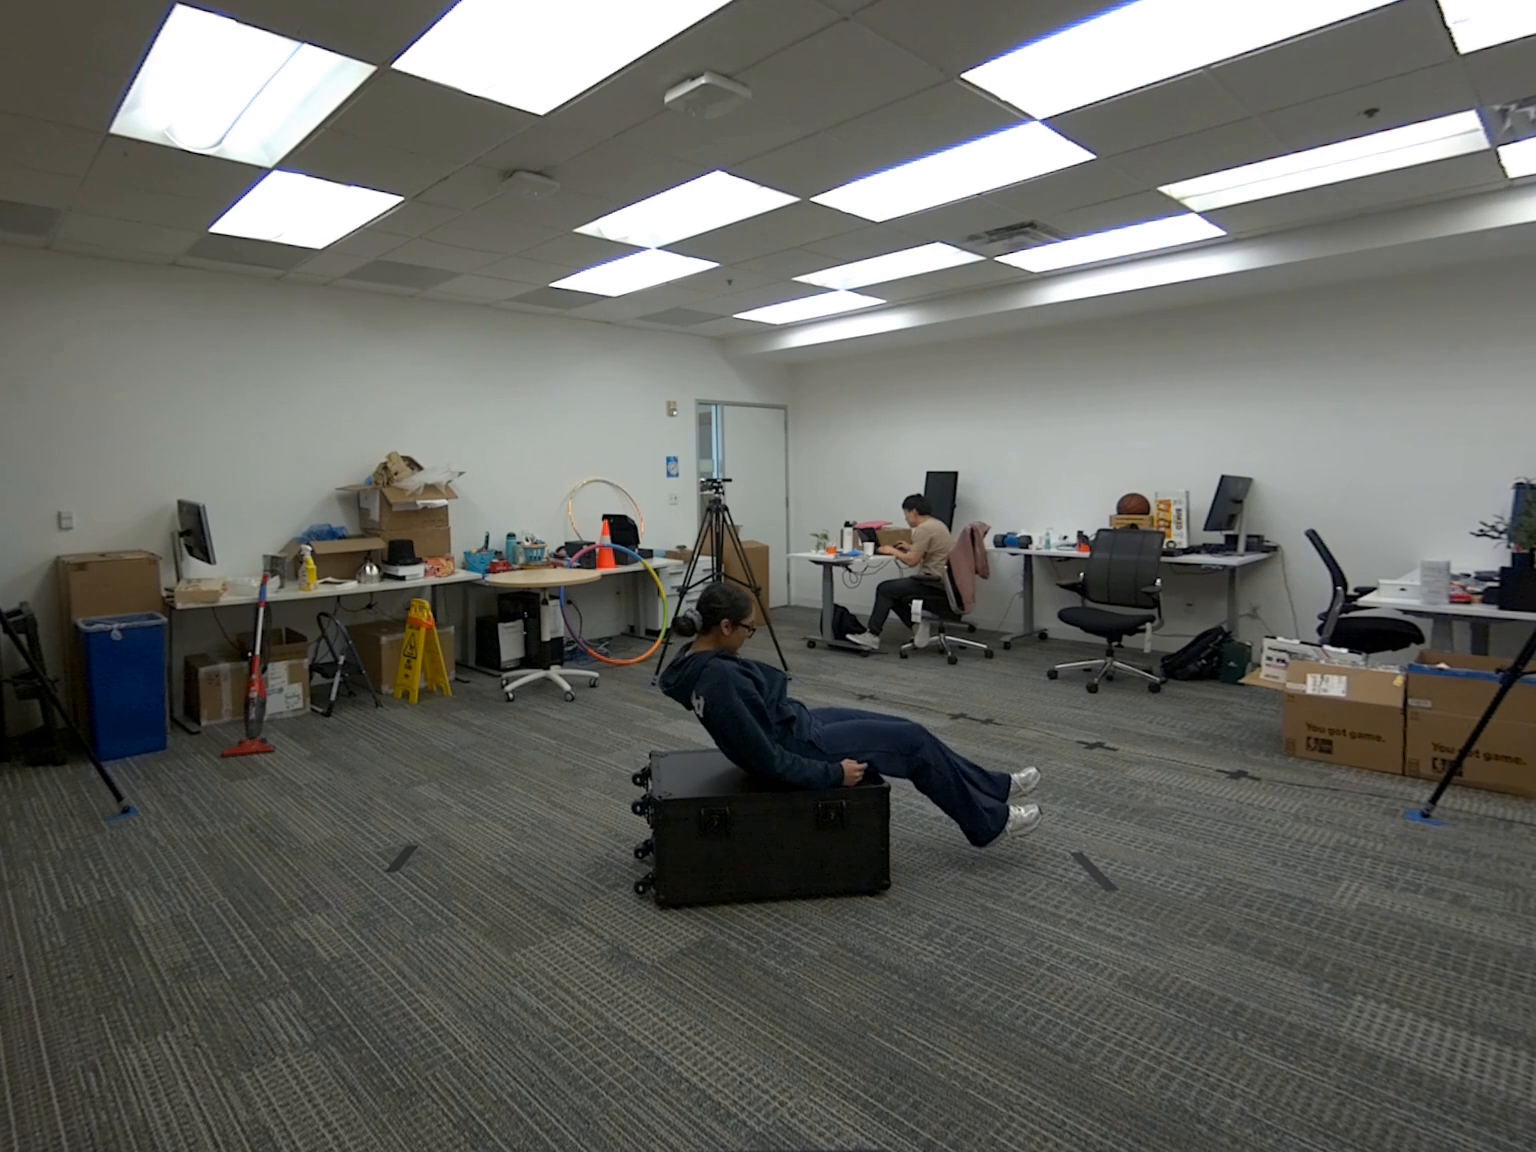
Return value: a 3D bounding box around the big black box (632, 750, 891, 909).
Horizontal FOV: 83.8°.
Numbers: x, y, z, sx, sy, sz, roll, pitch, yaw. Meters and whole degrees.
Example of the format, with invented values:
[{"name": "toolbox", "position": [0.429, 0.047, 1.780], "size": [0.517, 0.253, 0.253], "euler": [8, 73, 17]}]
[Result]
[{"name": "big black box", "position": [-0.055, 0.858, 3.028], "size": [0.856, 0.394, 0.527], "euler": [-2, 6, -7]}]
